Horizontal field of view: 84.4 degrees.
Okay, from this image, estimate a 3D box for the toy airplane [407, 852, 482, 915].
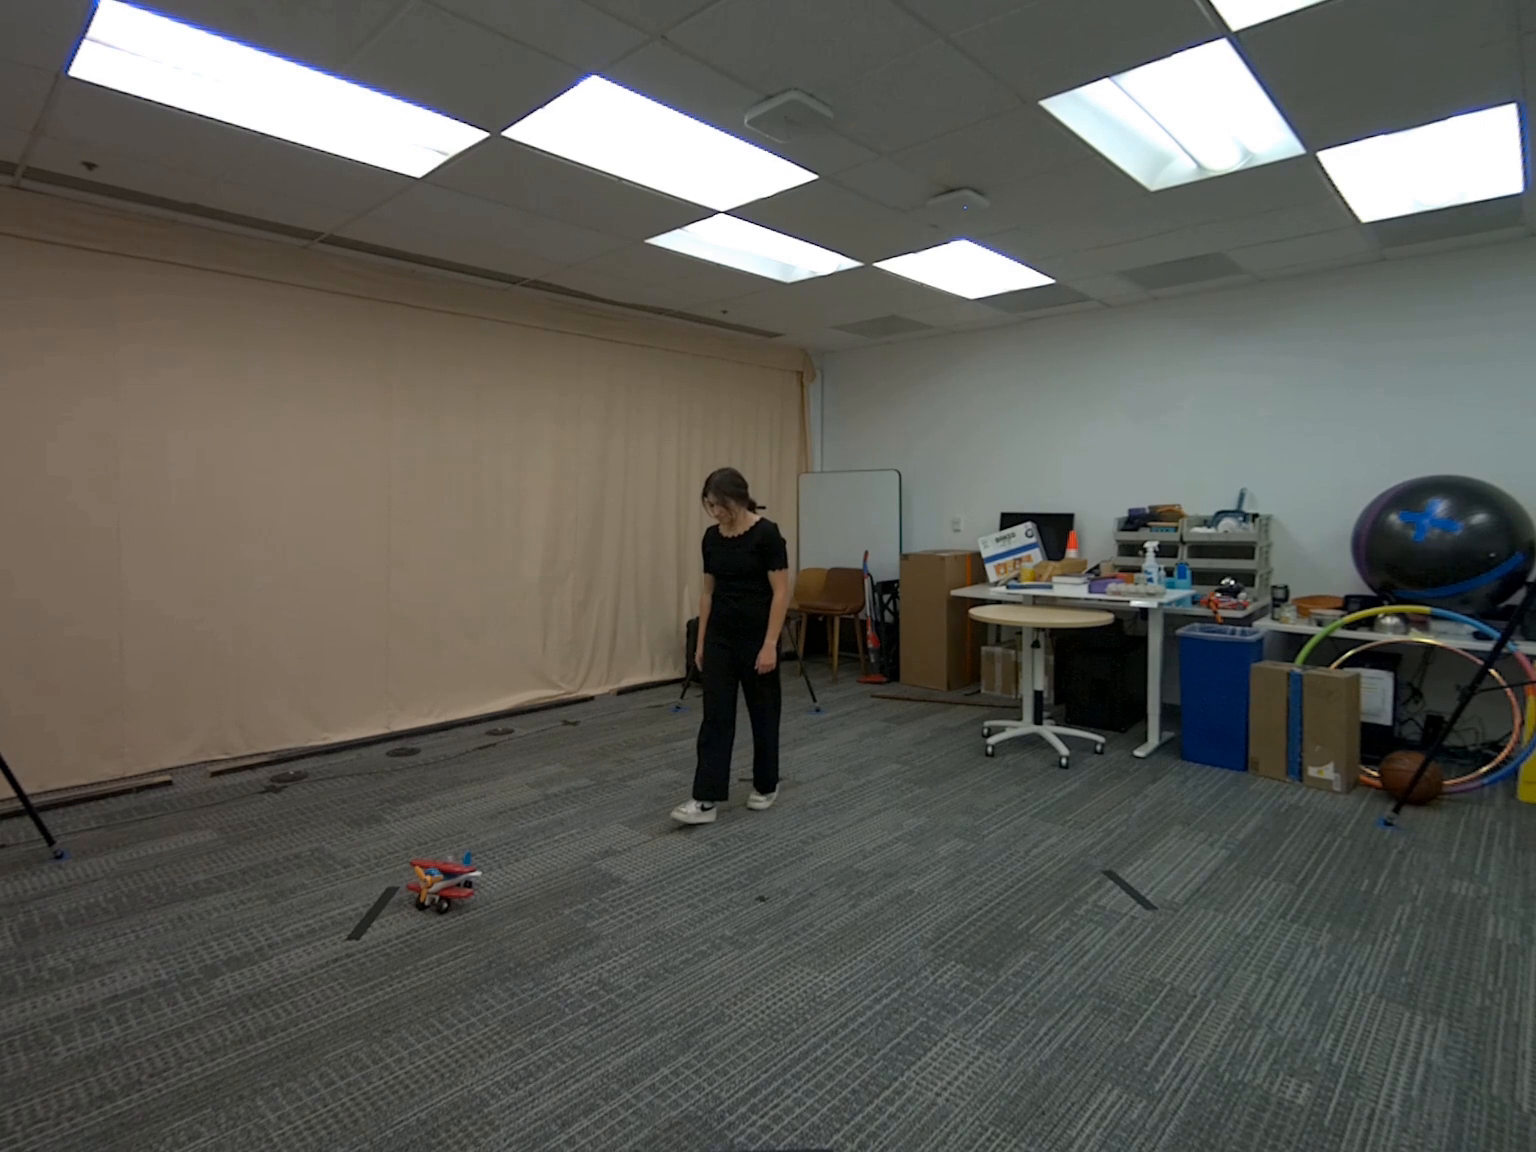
[{"bbox_3d":[-1.157,1.080,2.993,0.248,0.156,0.263,-1,5,-10],"label":"toy airplane"}]
